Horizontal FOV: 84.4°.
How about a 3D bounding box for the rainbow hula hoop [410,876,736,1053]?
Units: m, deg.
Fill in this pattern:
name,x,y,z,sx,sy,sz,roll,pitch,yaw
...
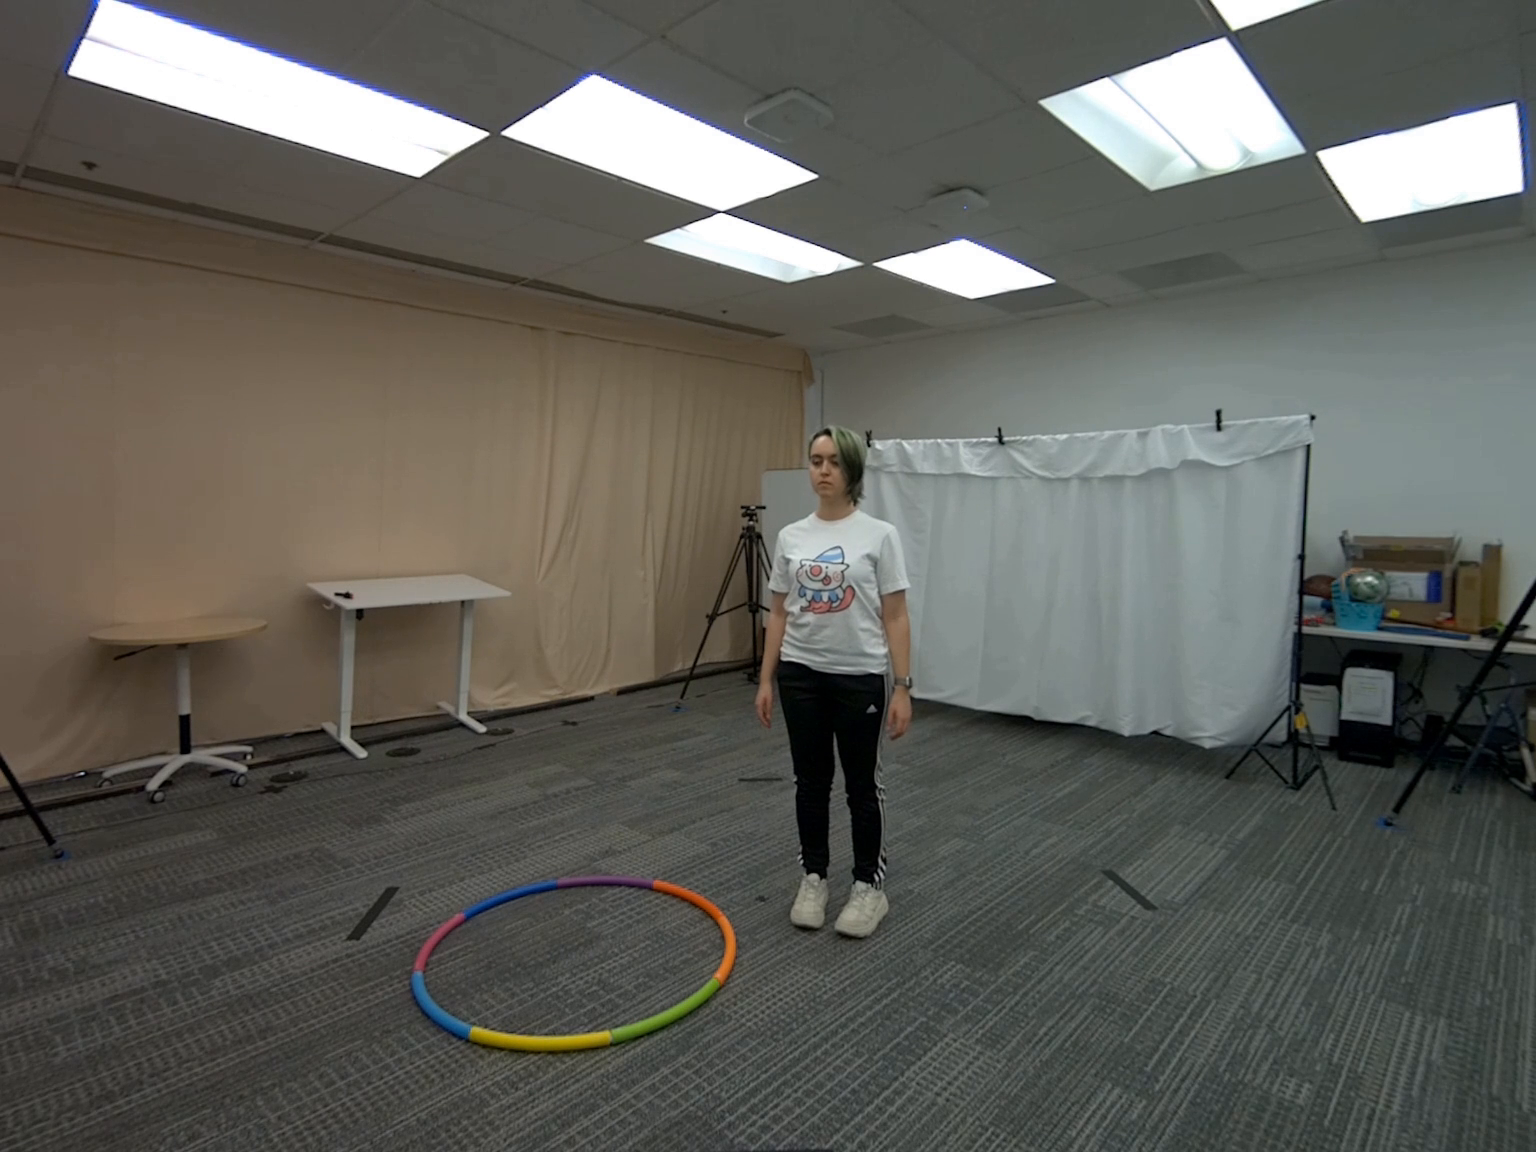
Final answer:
name,x,y,z,sx,sy,sz,roll,pitch,yaw
rainbow hula hoop,-0.590,1.154,2.629,0.984,0.051,0.989,0,4,-2
